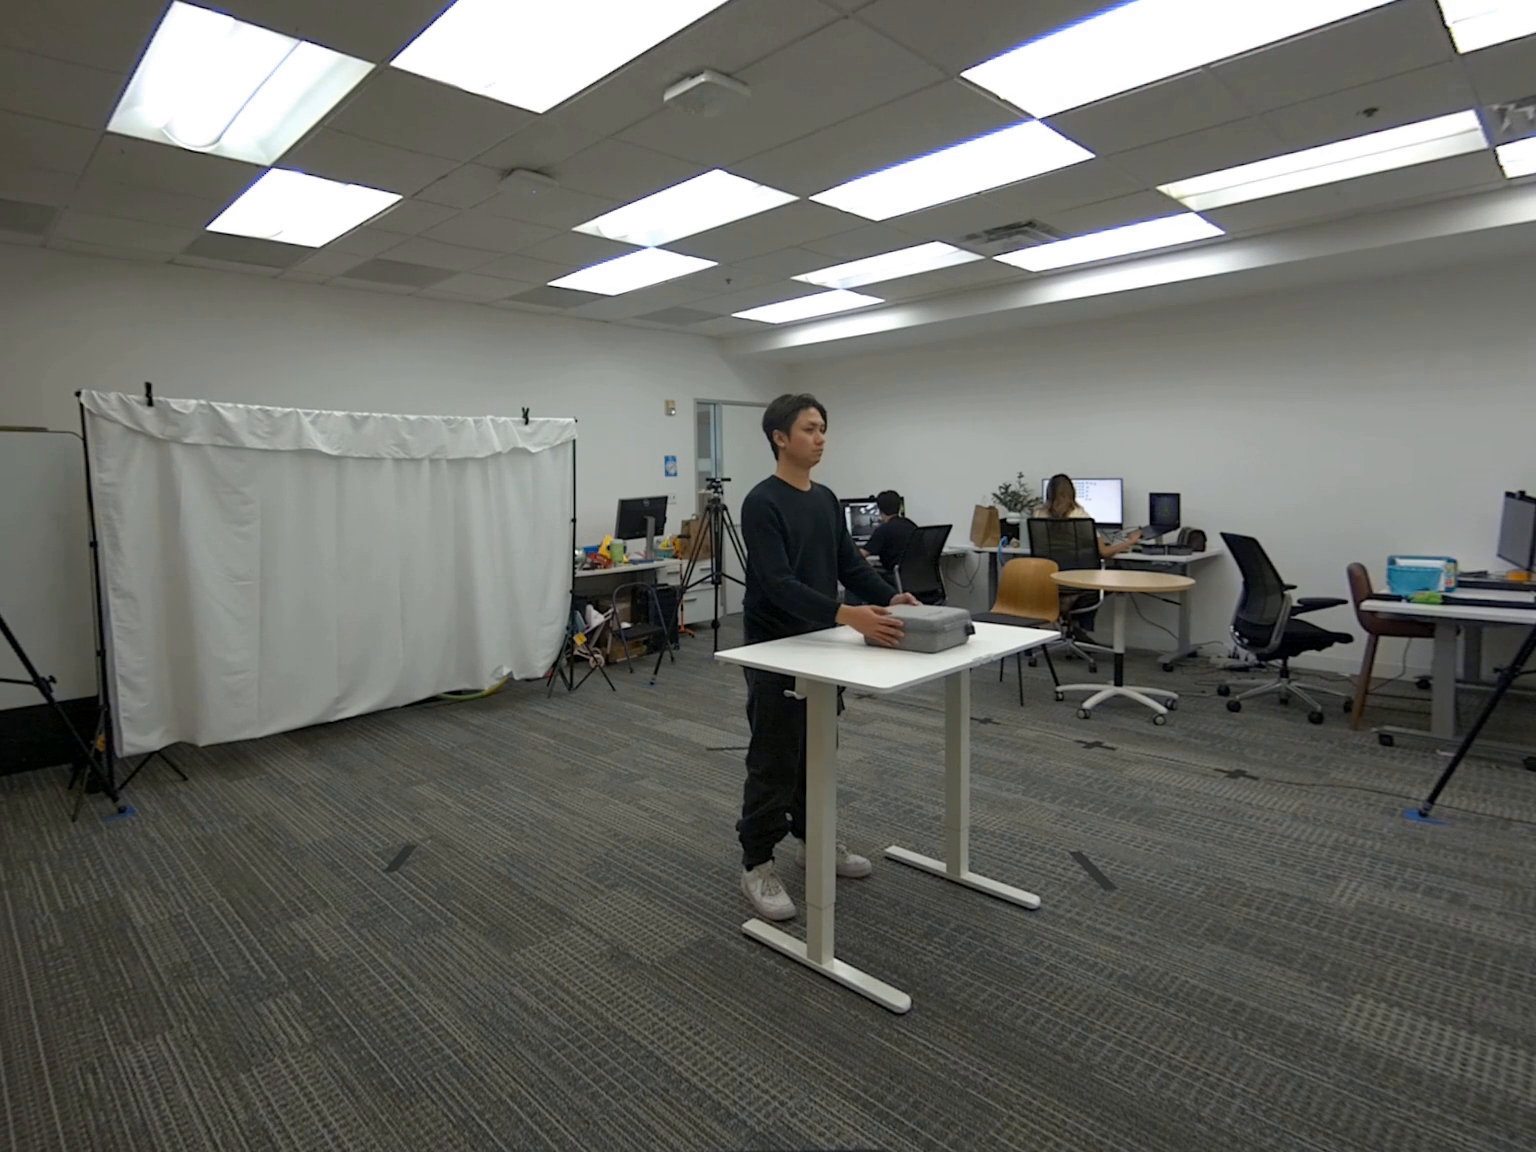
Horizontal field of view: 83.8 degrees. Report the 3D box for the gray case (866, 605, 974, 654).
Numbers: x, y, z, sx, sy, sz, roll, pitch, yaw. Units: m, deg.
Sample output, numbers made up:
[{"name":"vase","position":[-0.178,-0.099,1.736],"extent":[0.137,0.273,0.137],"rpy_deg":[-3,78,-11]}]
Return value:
[{"name":"gray case","position":[0.457,0.157,2.609],"extent":[0.269,0.104,0.250],"rpy_deg":[5,9,41]}]
